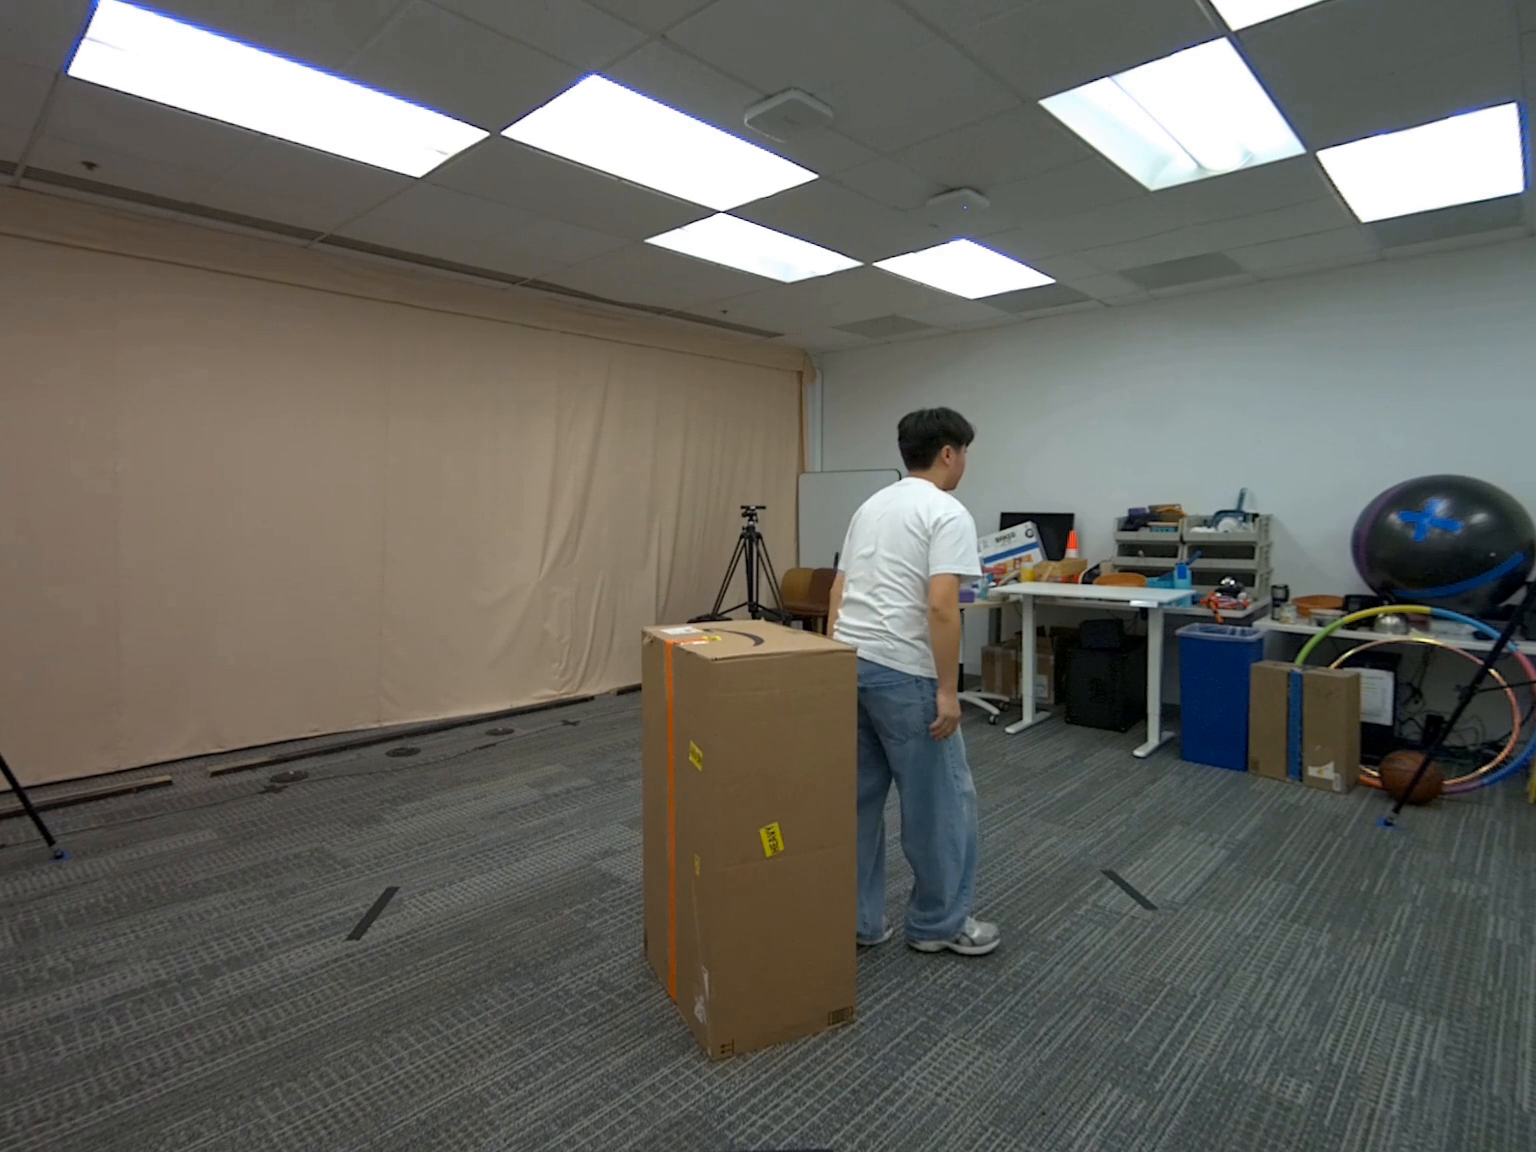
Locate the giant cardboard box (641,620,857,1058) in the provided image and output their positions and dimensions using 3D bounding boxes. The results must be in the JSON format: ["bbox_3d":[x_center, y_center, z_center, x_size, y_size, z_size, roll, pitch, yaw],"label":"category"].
[{"bbox_3d":[-0.079,0.682,2.419,0.416,1.024,0.592,-2,4,-25],"label":"giant cardboard box"}]
